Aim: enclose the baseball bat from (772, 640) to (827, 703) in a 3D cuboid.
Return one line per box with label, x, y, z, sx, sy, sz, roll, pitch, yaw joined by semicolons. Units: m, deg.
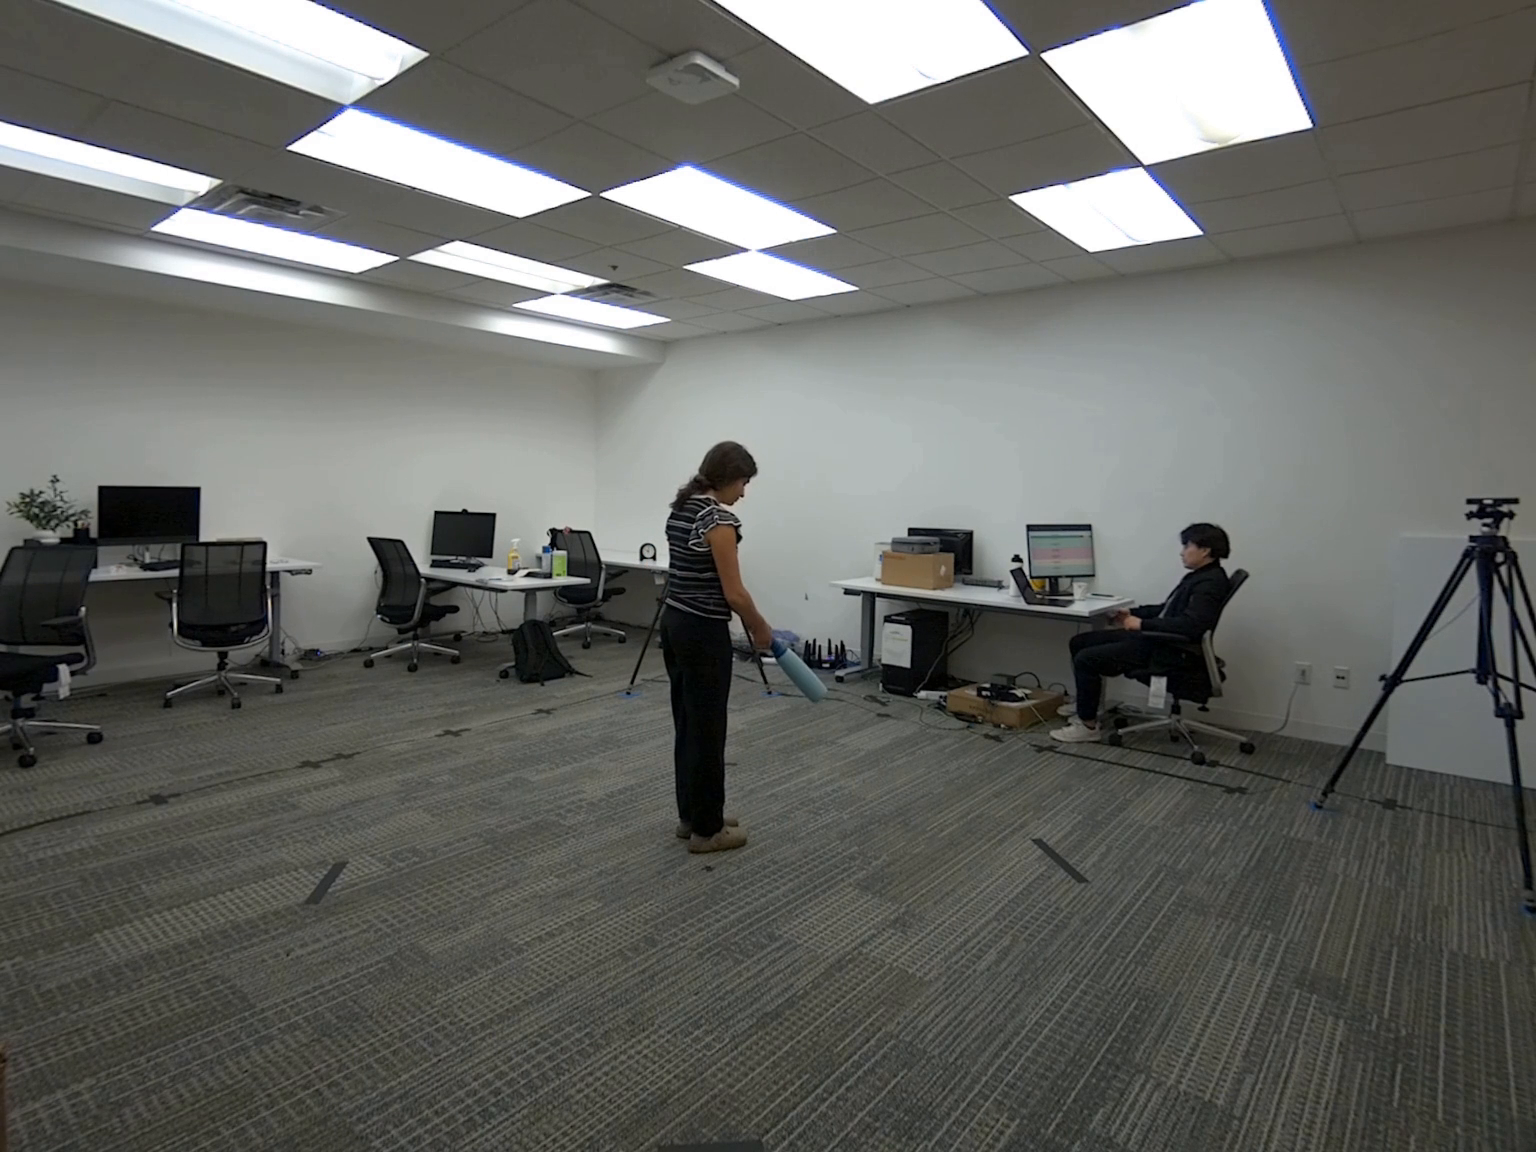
baseball bat;0.031;0.308;3.446;0.089;0.535;0.090;-41;10;8
